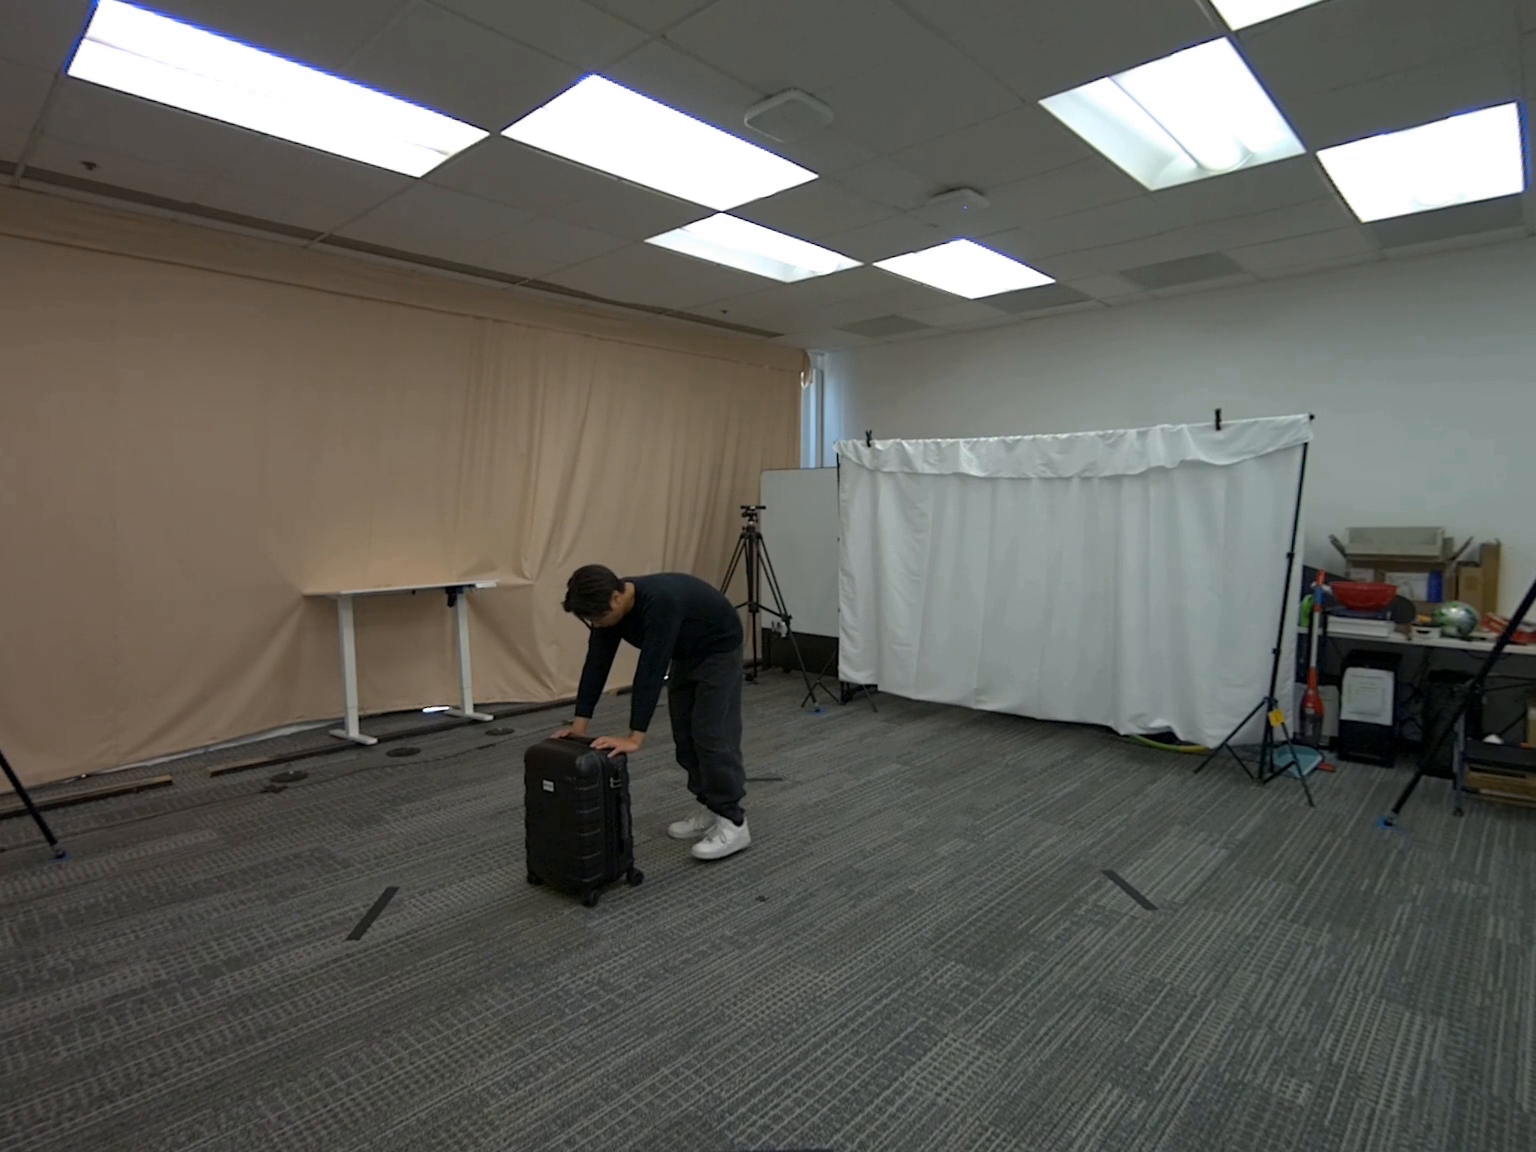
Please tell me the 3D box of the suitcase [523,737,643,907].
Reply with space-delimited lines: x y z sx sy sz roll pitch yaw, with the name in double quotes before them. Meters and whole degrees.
"suitcase" -0.696 0.867 3.079 0.387 0.548 0.241 2 5 37
